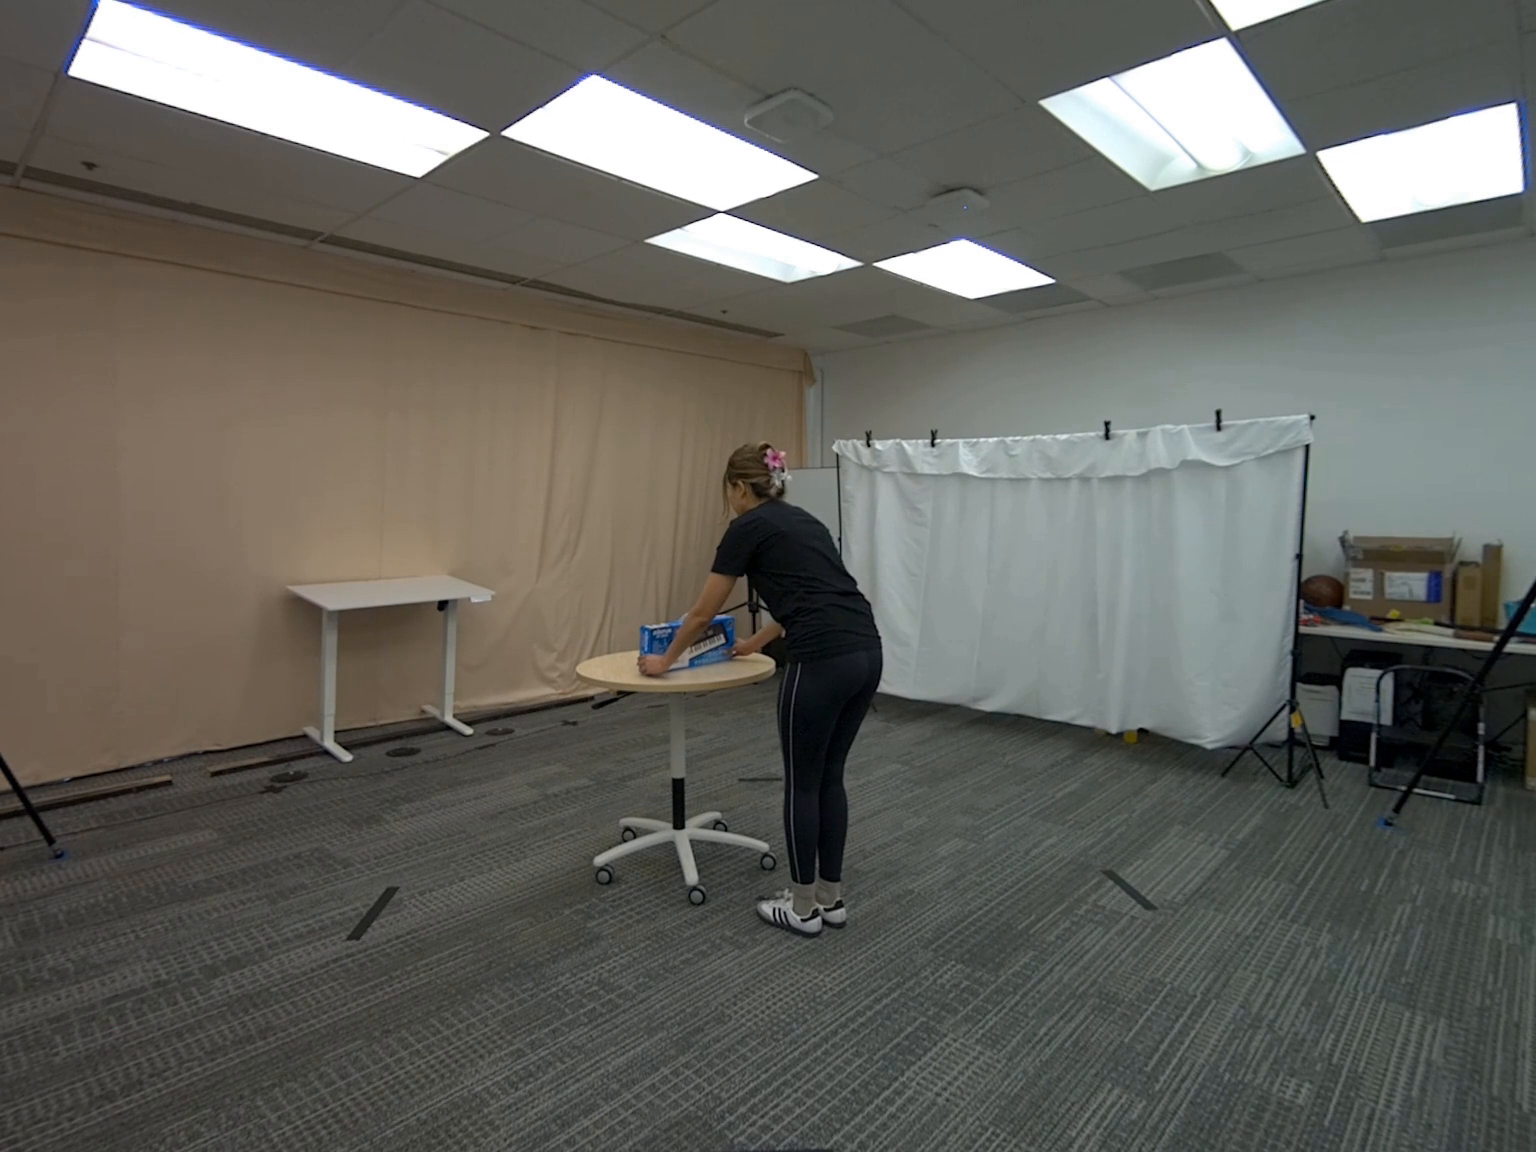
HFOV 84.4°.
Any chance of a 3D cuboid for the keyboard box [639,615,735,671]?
[{"bbox_3d":[-0.298,0.258,3.189,0.061,0.175,0.423,10,10,43],"label":"keyboard box"}]
